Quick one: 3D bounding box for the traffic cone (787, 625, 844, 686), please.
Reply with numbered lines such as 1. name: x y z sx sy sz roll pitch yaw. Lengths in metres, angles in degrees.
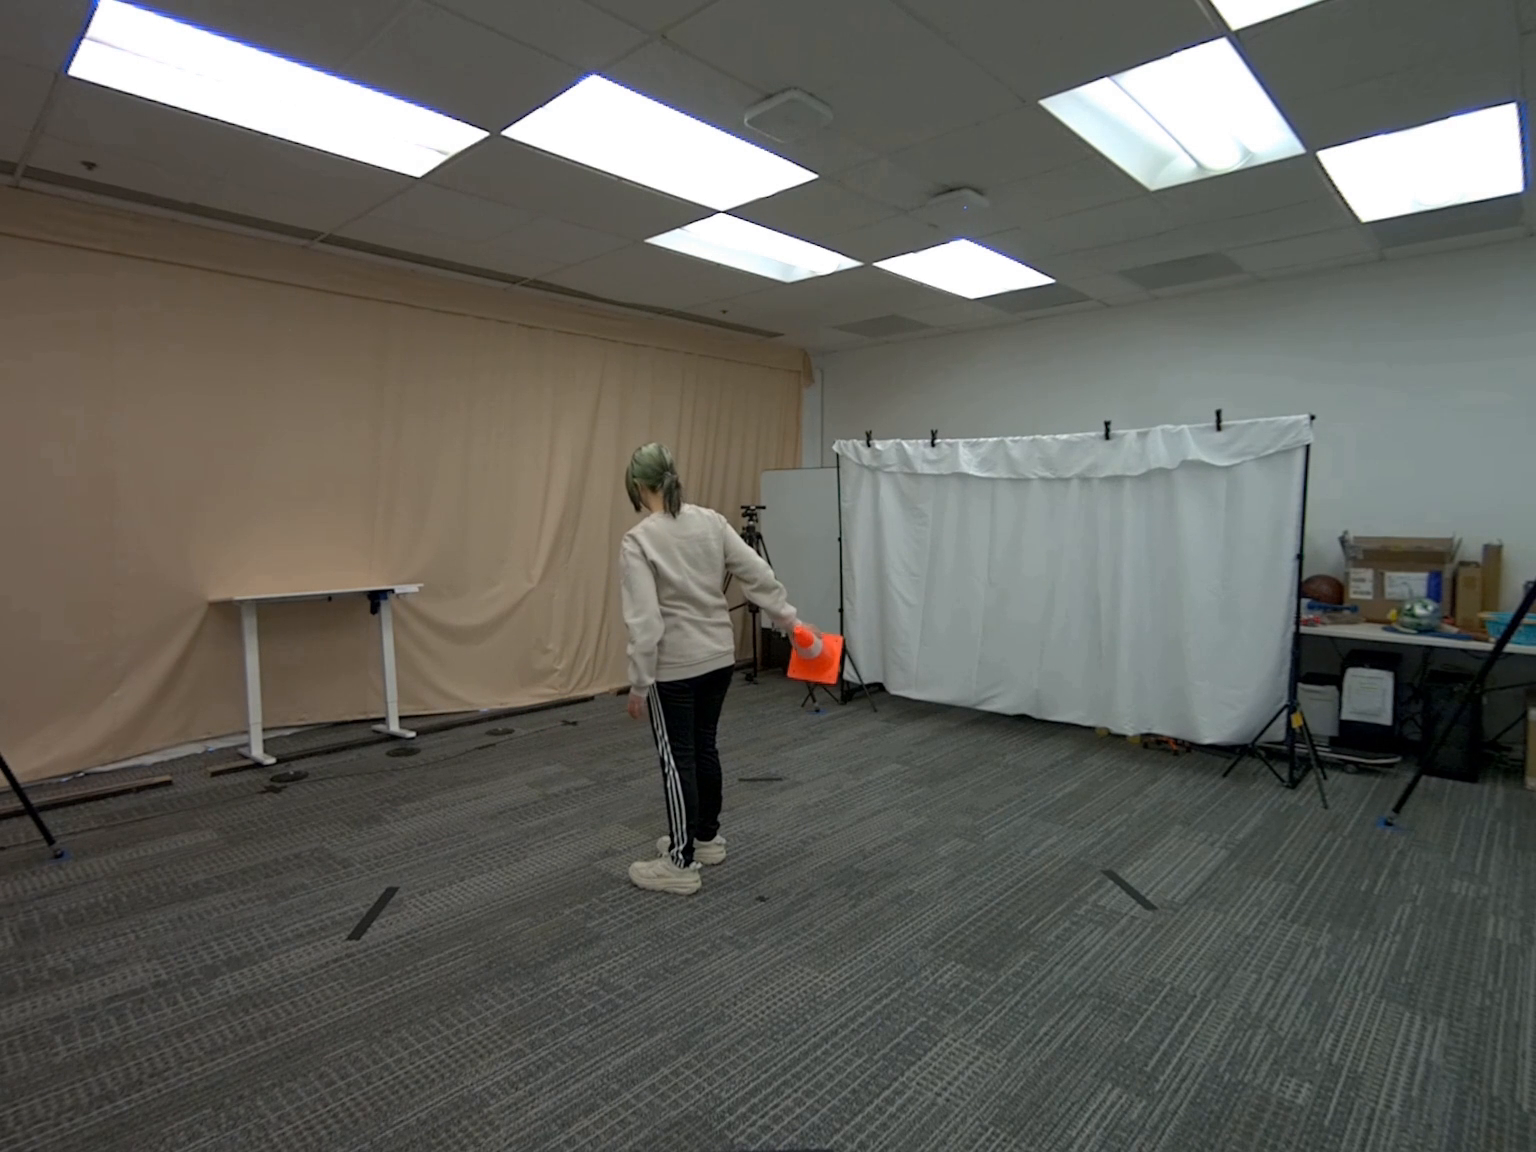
1. traffic cone: 0.149 0.265 3.221 0.209 0.204 0.374 11 -16 17
